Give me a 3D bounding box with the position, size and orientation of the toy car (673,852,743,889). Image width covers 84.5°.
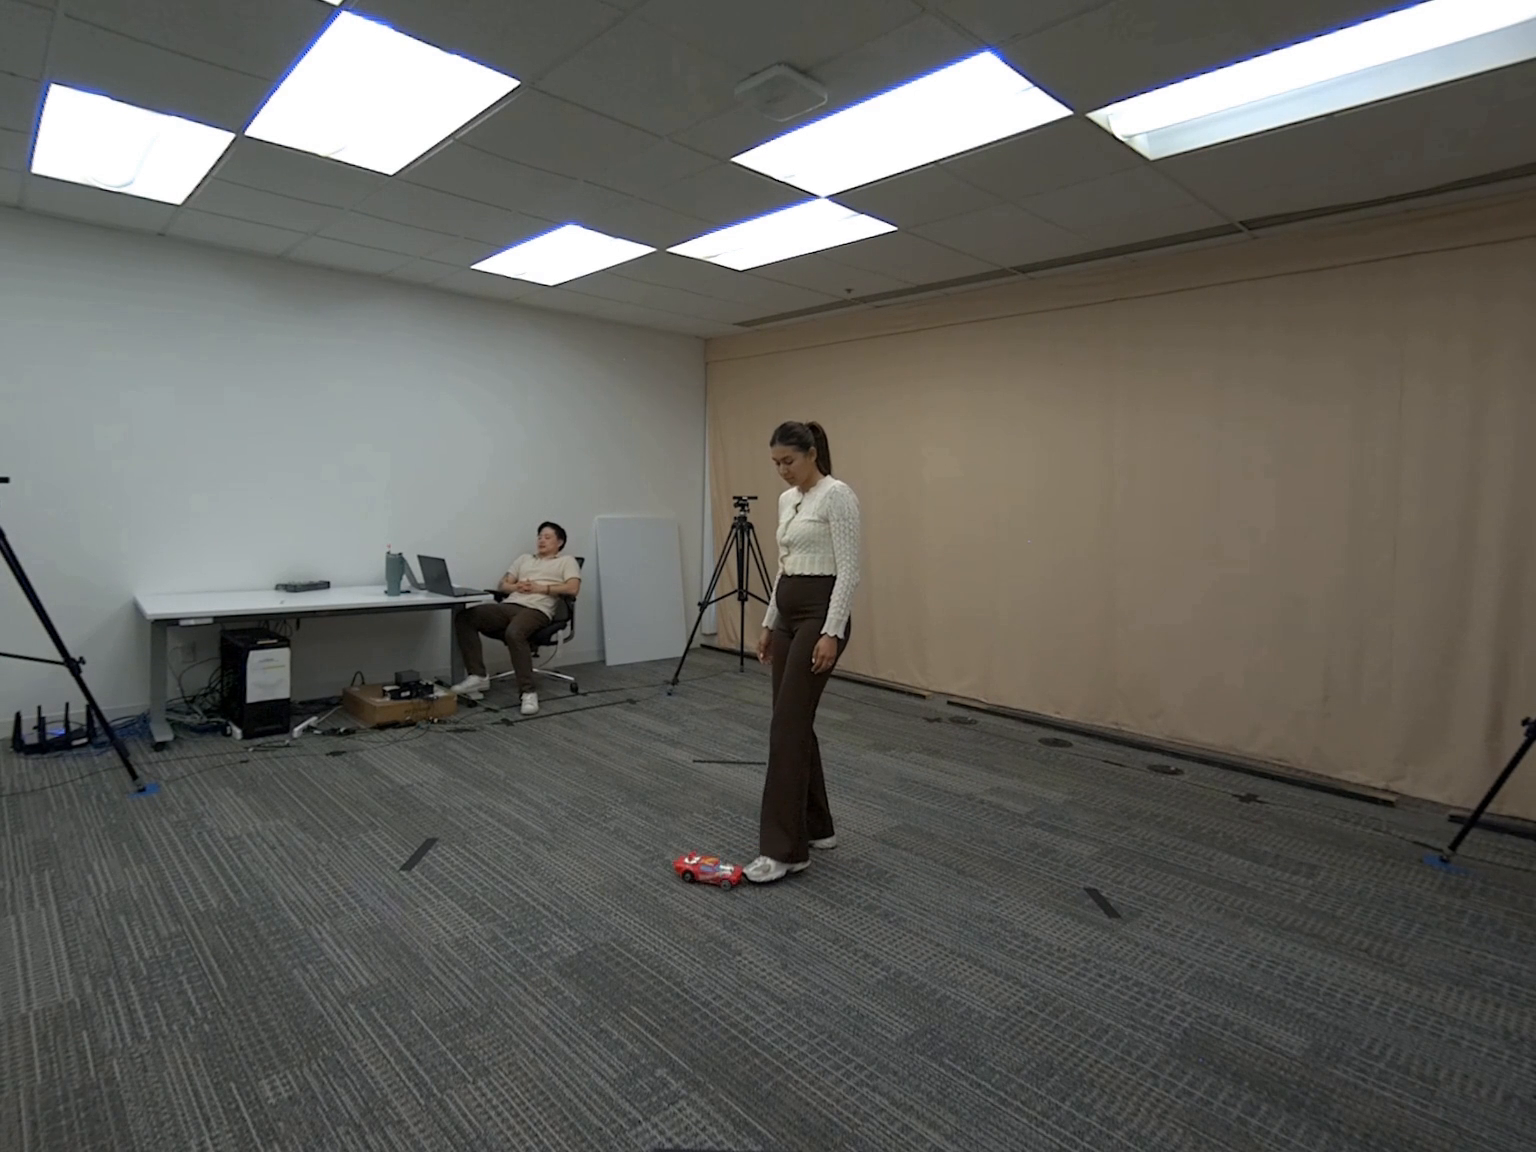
[{"bbox_3d":[-0.228,1.070,3.064,0.259,0.083,0.129,14,10,19],"label":"toy car"}]
